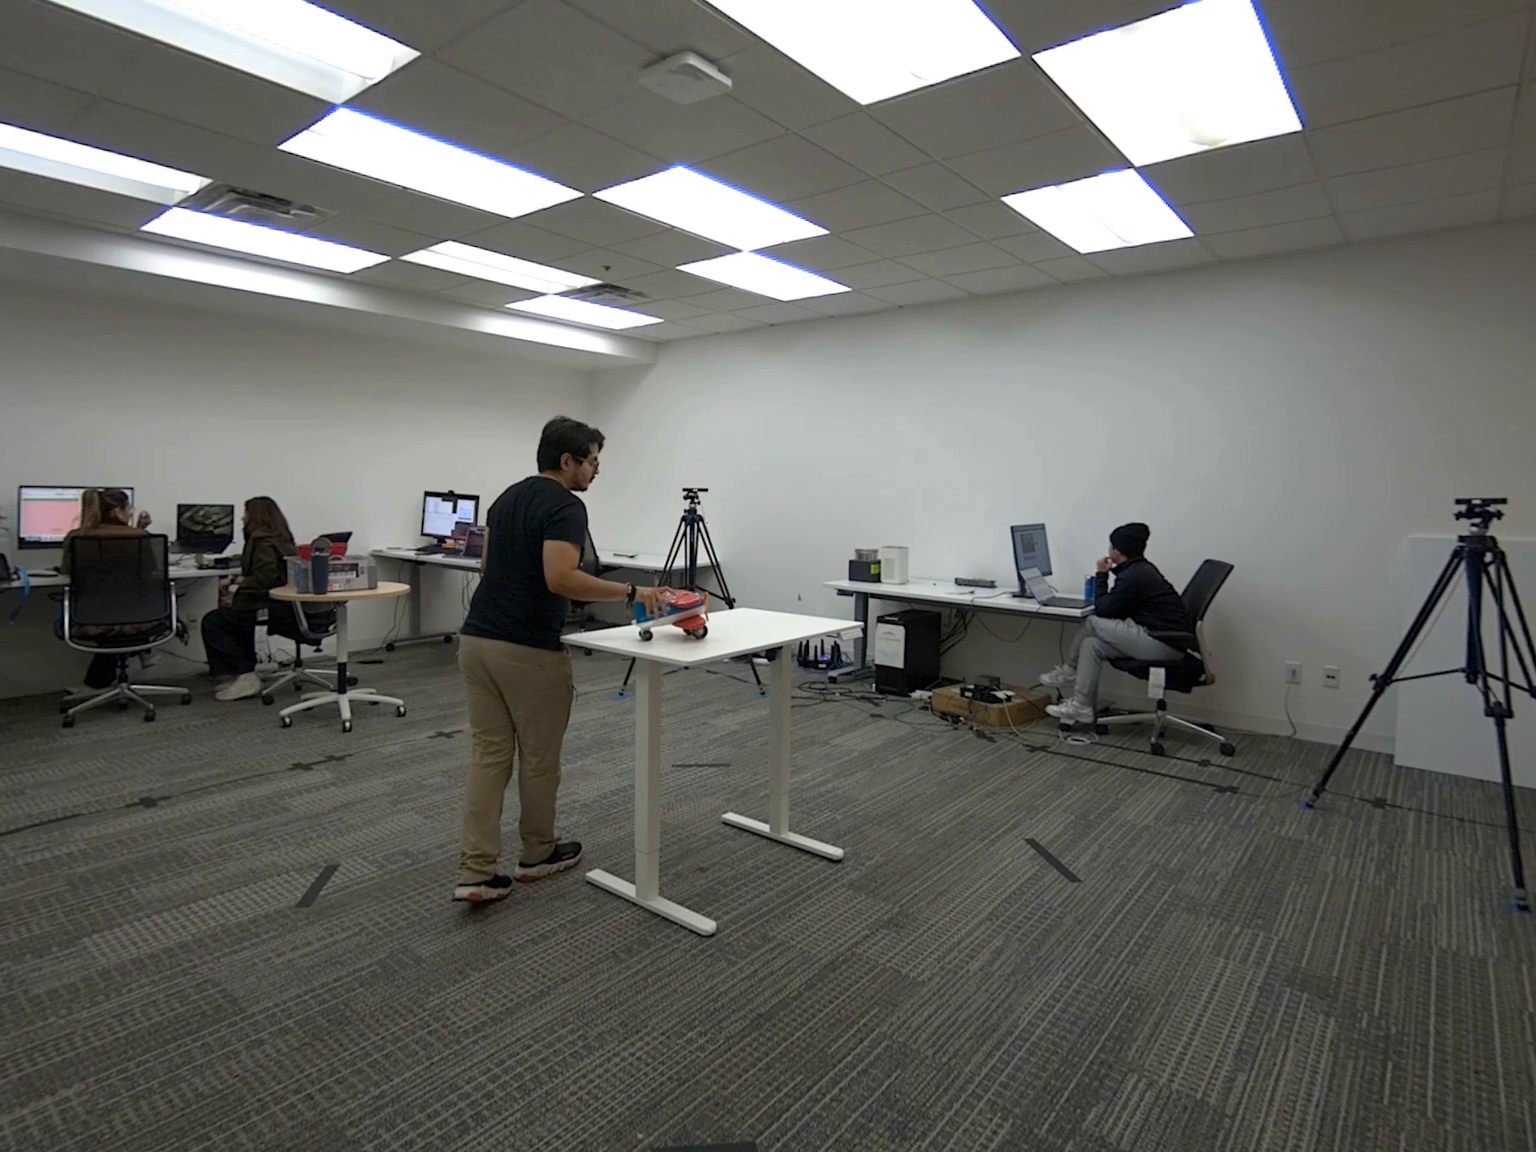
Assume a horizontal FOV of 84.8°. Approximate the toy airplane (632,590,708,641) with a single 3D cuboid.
[{"bbox_3d":[-0.328,0.136,2.861,0.259,0.156,0.251,4,5,39],"label":"toy airplane"}]
